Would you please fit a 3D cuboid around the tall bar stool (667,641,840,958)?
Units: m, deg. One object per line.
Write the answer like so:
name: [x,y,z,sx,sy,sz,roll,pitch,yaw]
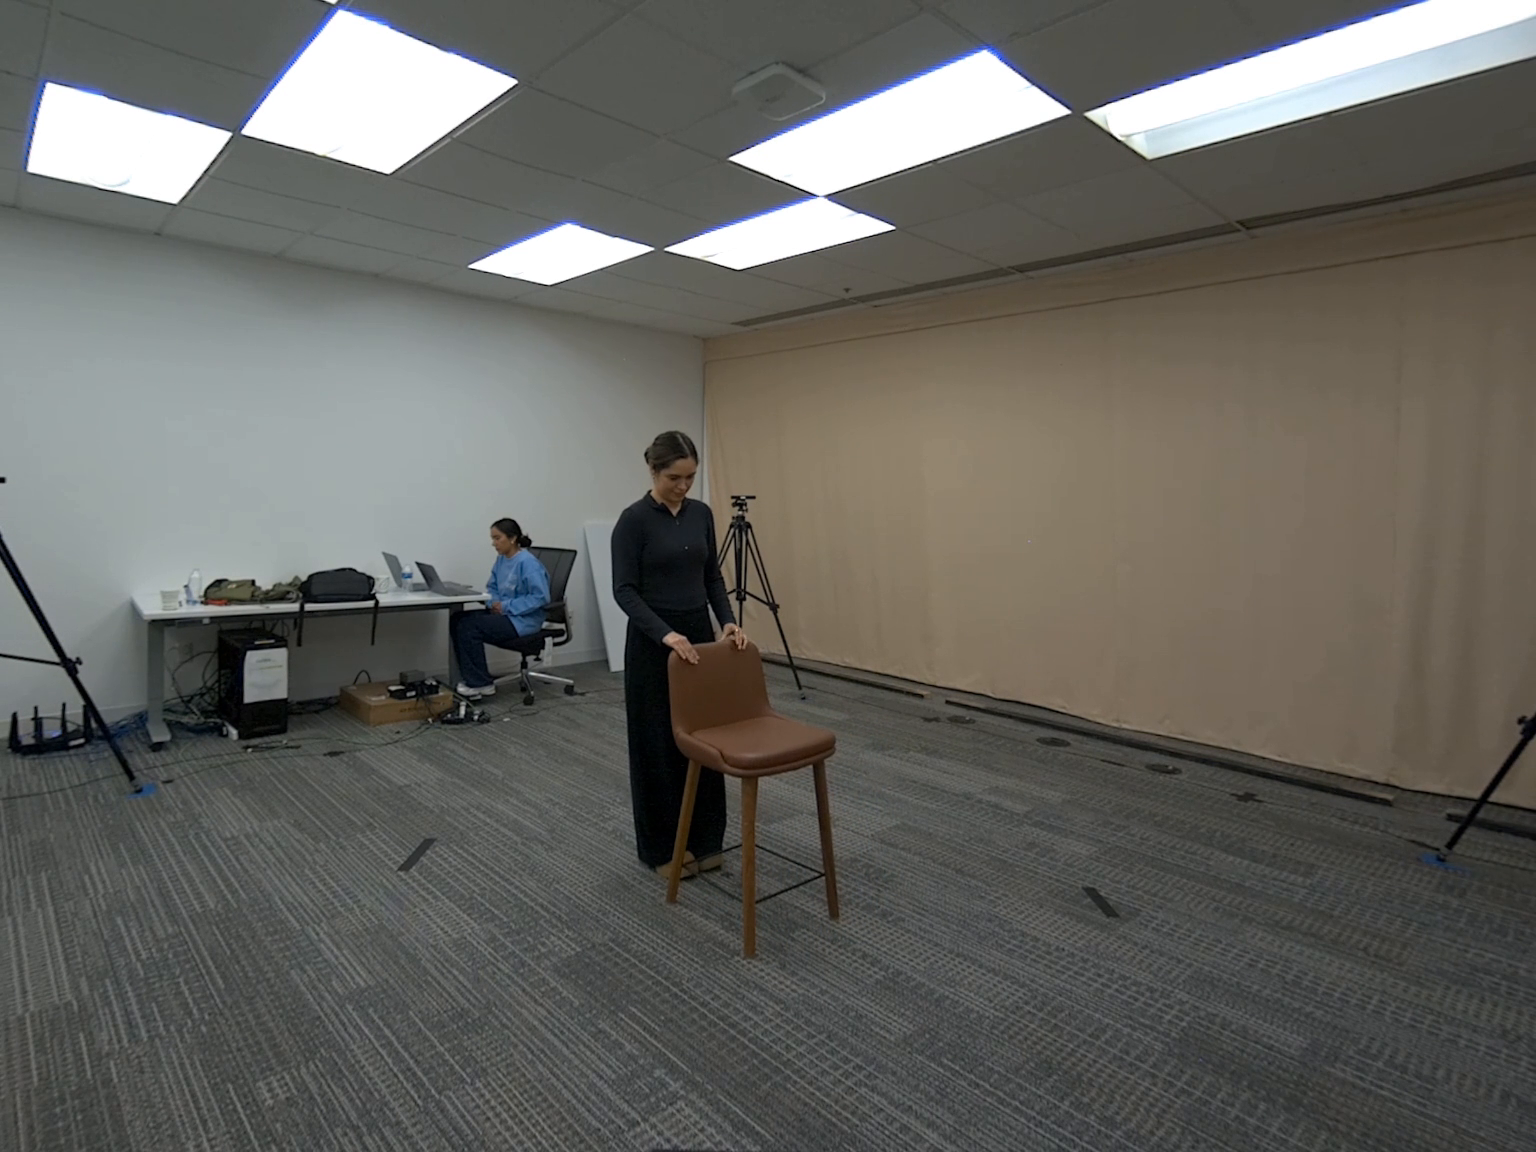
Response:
tall bar stool: [-0.064,0.691,2.818,0.446,0.888,0.479,-2,2,-42]
